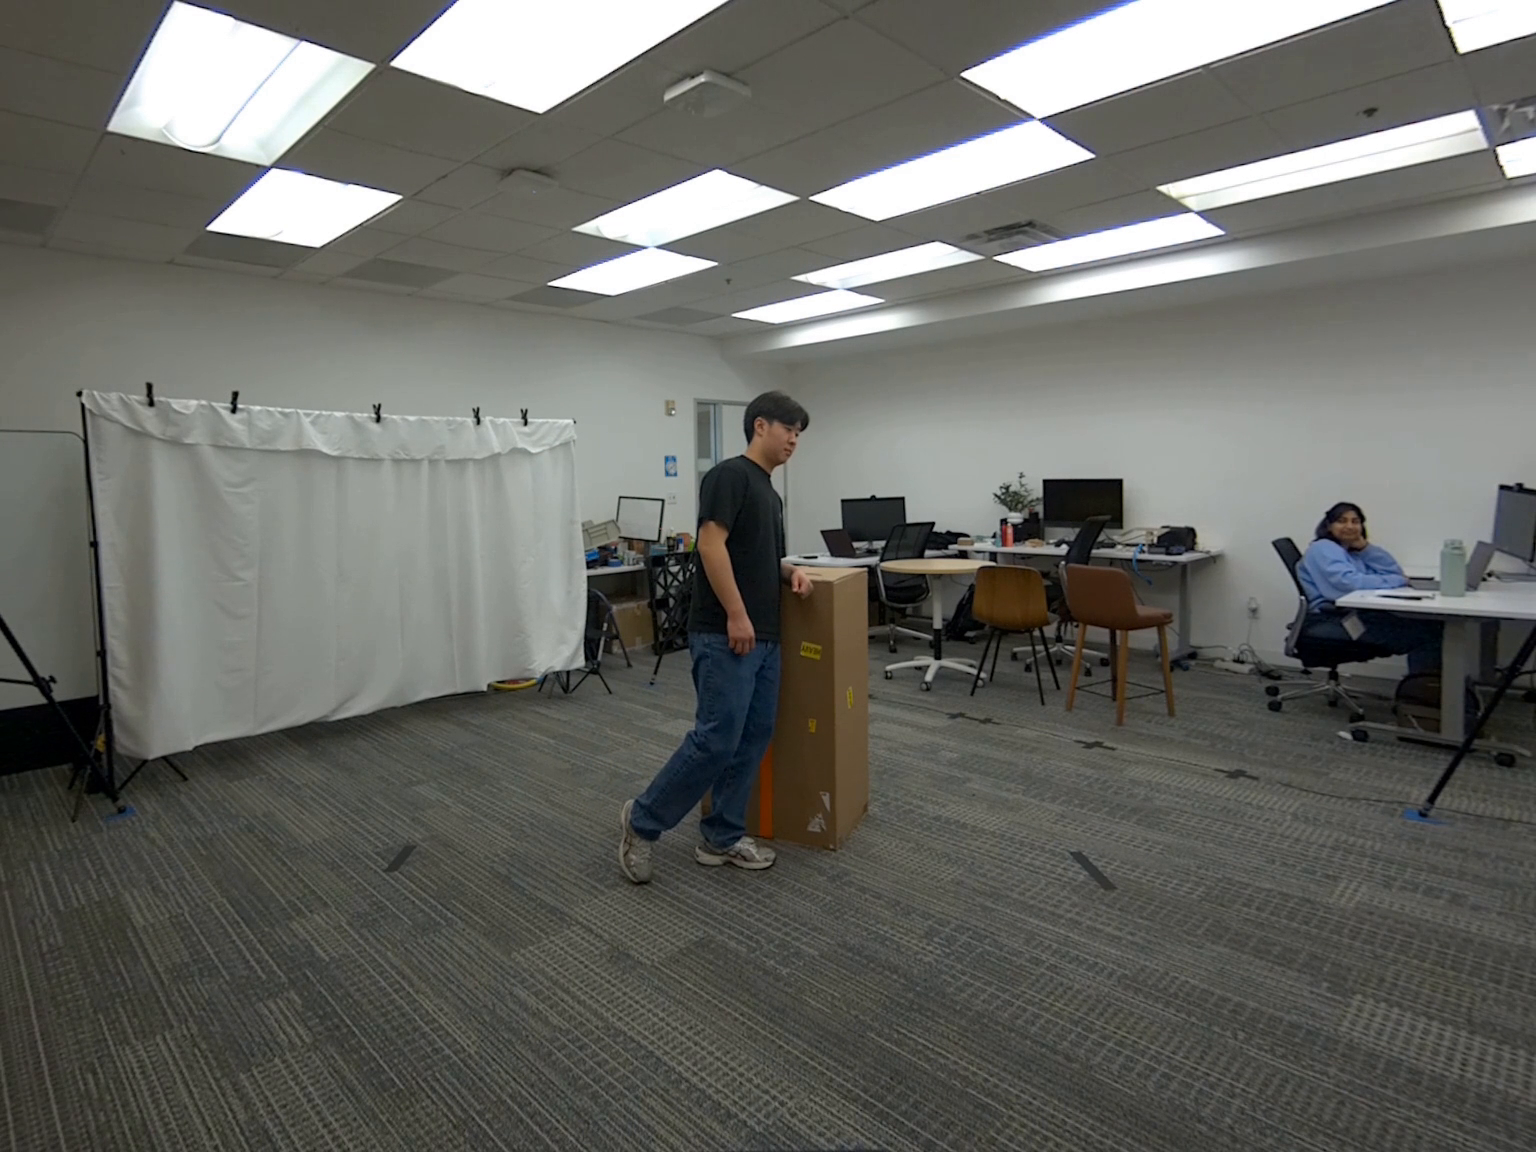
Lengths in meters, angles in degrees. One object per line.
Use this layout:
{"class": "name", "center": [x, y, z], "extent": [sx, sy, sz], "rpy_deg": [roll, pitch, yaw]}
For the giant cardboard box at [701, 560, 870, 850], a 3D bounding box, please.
{"class": "giant cardboard box", "center": [0.075, 0.485, 3.476], "extent": [0.598, 1.022, 0.438], "rpy_deg": [2, 5, 27]}
